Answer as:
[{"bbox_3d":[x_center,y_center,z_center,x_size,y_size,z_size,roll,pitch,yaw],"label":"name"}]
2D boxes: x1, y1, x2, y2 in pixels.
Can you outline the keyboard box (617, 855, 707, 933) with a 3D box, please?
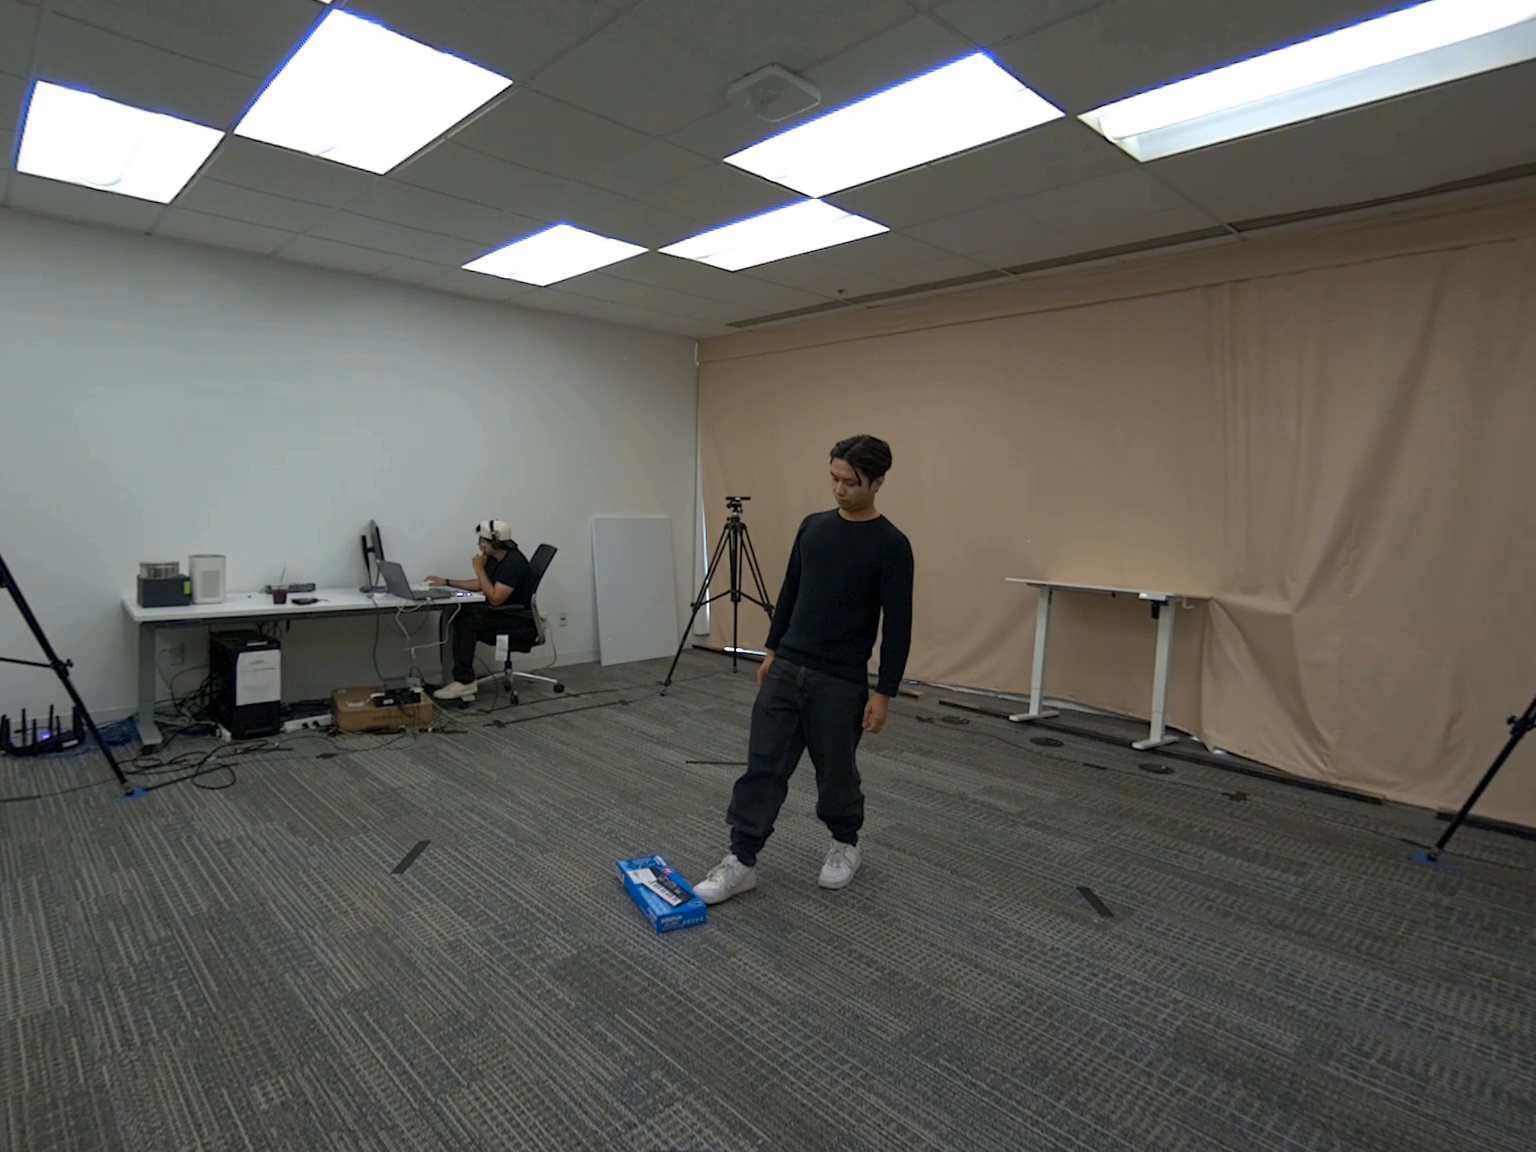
[{"bbox_3d":[-0.380,1.091,2.909,0.173,0.059,0.446,-2,6,-28],"label":"keyboard box"}]
